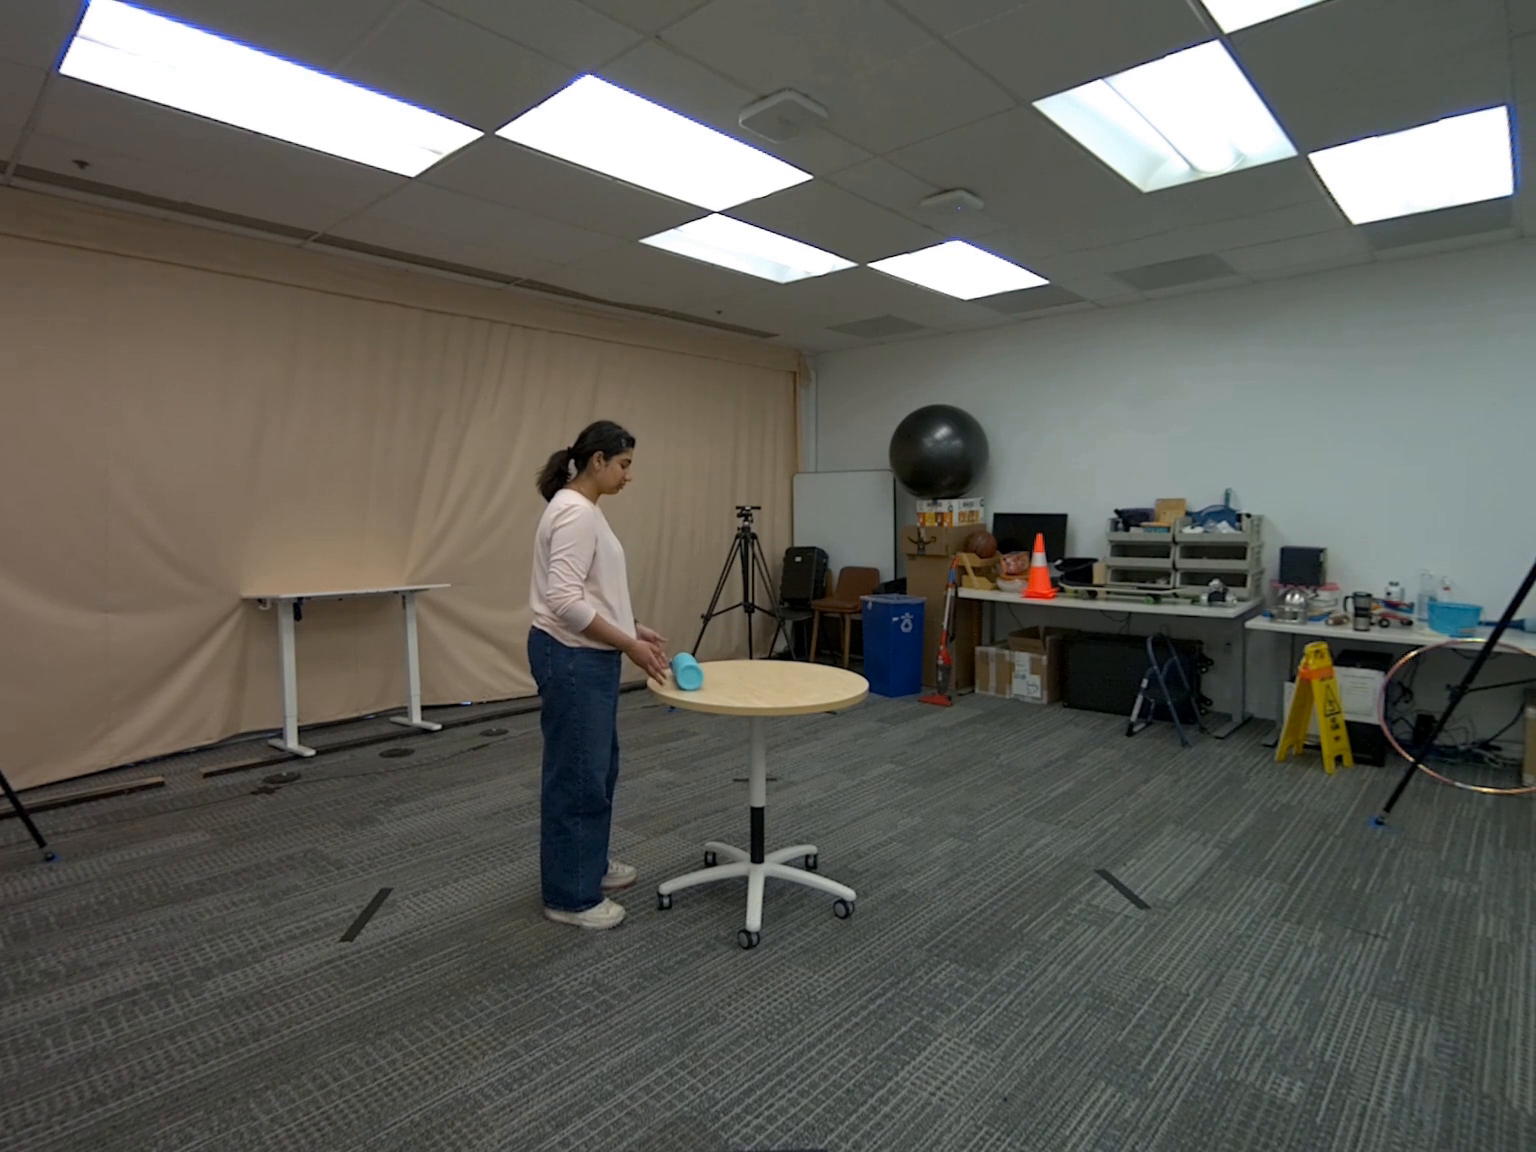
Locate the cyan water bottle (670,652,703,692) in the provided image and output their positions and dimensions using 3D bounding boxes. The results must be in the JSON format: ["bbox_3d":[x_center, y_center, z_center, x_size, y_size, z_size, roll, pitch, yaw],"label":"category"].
[{"bbox_3d":[-0.282,0.322,2.900,0.091,0.092,0.287,-1,5,-11],"label":"cyan water bottle"}]
